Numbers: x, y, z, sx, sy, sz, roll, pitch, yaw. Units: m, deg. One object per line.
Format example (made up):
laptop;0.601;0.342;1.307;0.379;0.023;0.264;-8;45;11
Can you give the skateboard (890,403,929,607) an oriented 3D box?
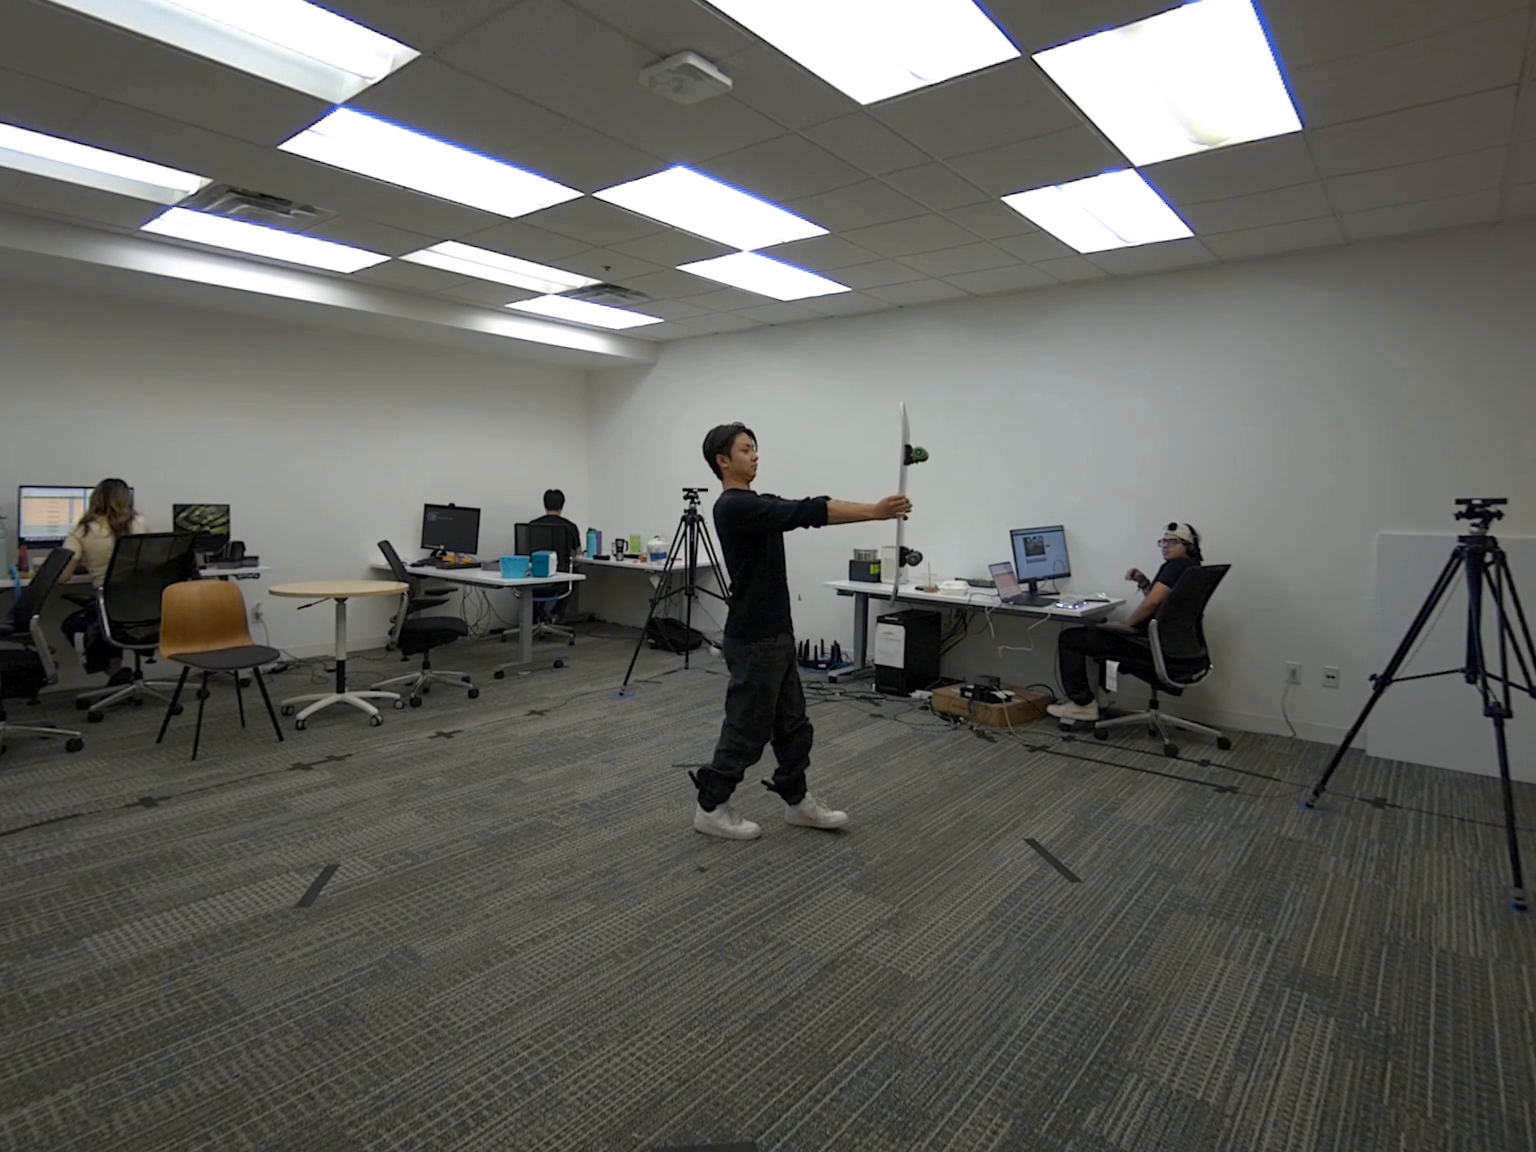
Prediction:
skateboard;0.542;-0.271;3.270;0.112;0.783;0.190;4;3;15
